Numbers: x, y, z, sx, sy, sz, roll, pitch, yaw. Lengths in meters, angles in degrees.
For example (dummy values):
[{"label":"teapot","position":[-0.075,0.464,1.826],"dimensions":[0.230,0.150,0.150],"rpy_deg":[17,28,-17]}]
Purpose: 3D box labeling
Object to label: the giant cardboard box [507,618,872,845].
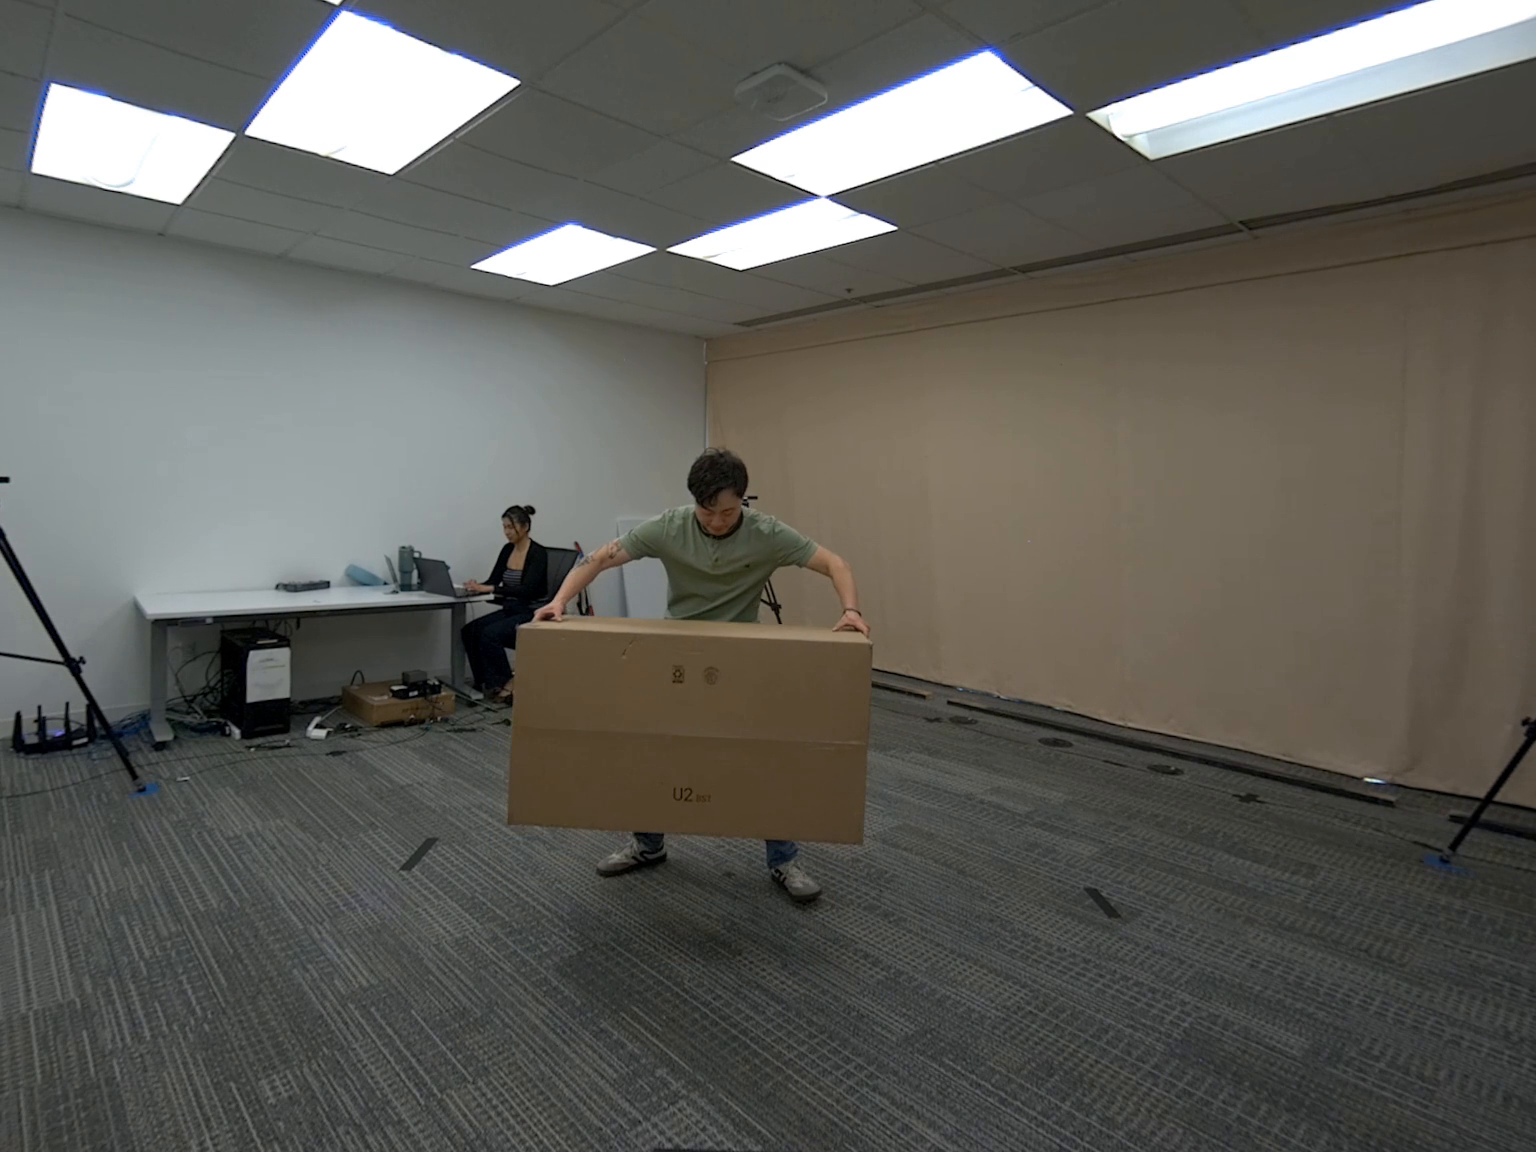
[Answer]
[{"label":"giant cardboard box","position":[-0.226,0.448,2.603],"dimensions":[1.028,0.577,0.425],"rpy_deg":[2,0,3]}]
